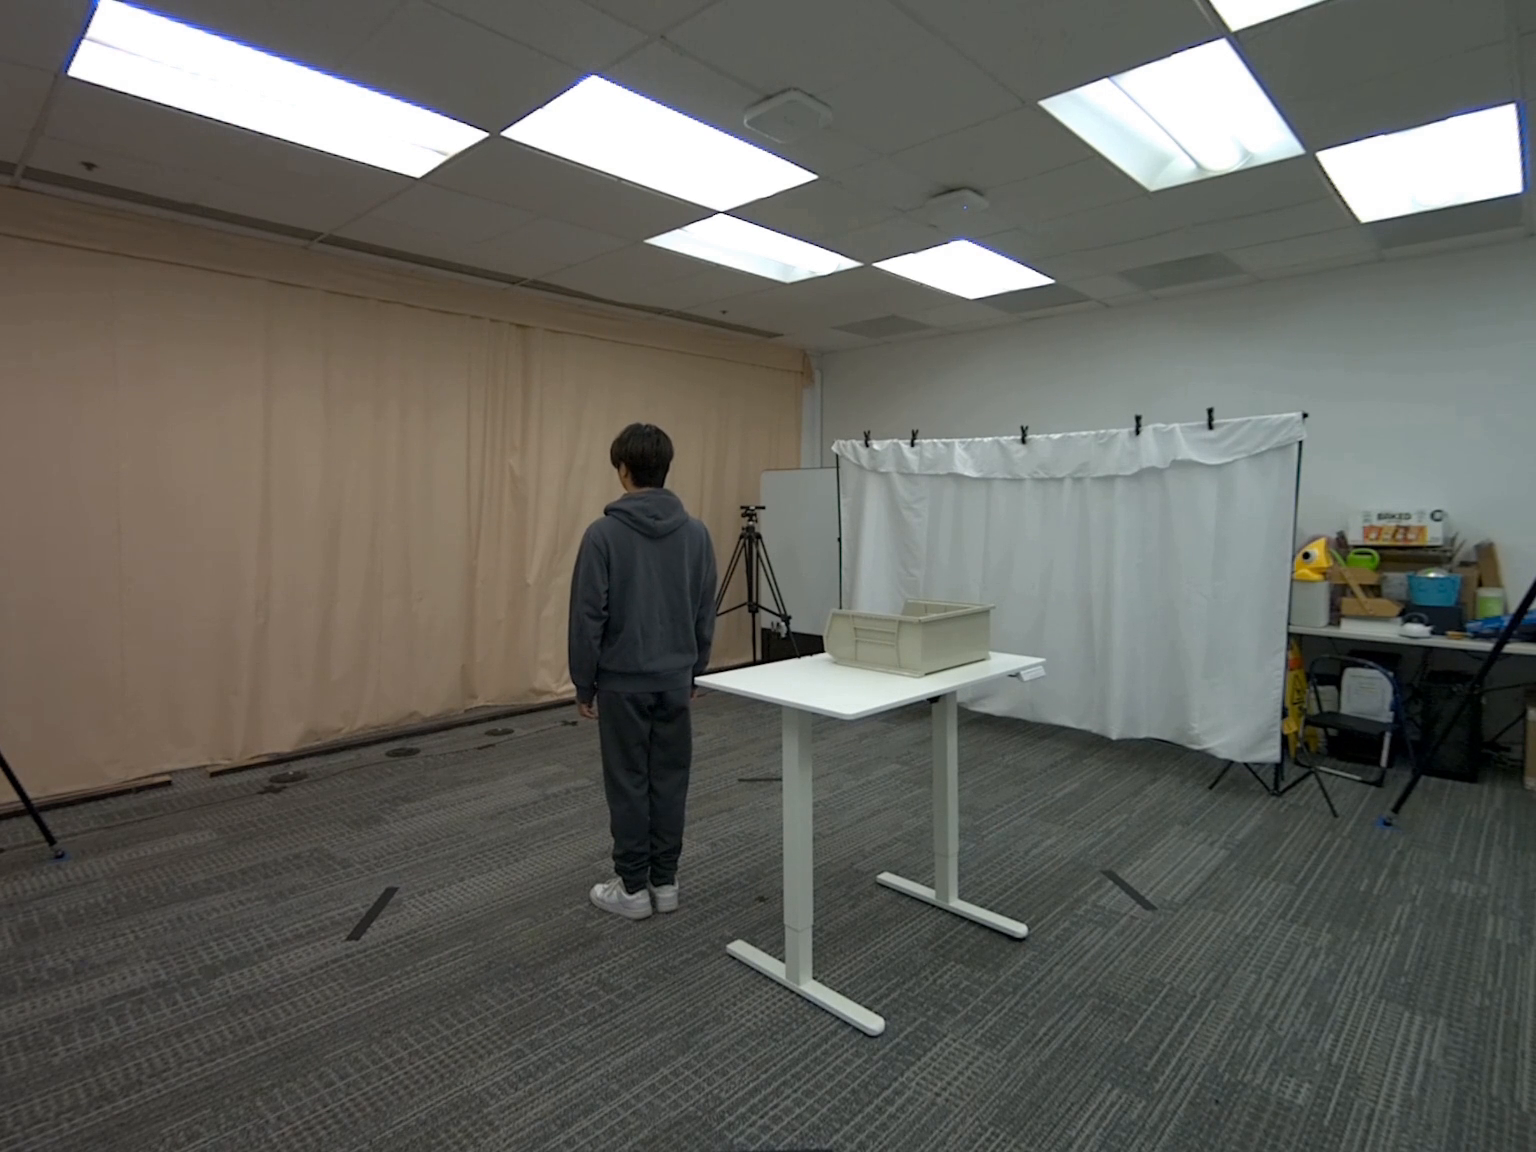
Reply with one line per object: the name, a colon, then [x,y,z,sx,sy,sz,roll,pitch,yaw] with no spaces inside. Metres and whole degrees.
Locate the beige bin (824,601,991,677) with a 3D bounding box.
beige bin: [0.465,0.192,2.730,0.409,0.188,0.390,-5,6,-43]
